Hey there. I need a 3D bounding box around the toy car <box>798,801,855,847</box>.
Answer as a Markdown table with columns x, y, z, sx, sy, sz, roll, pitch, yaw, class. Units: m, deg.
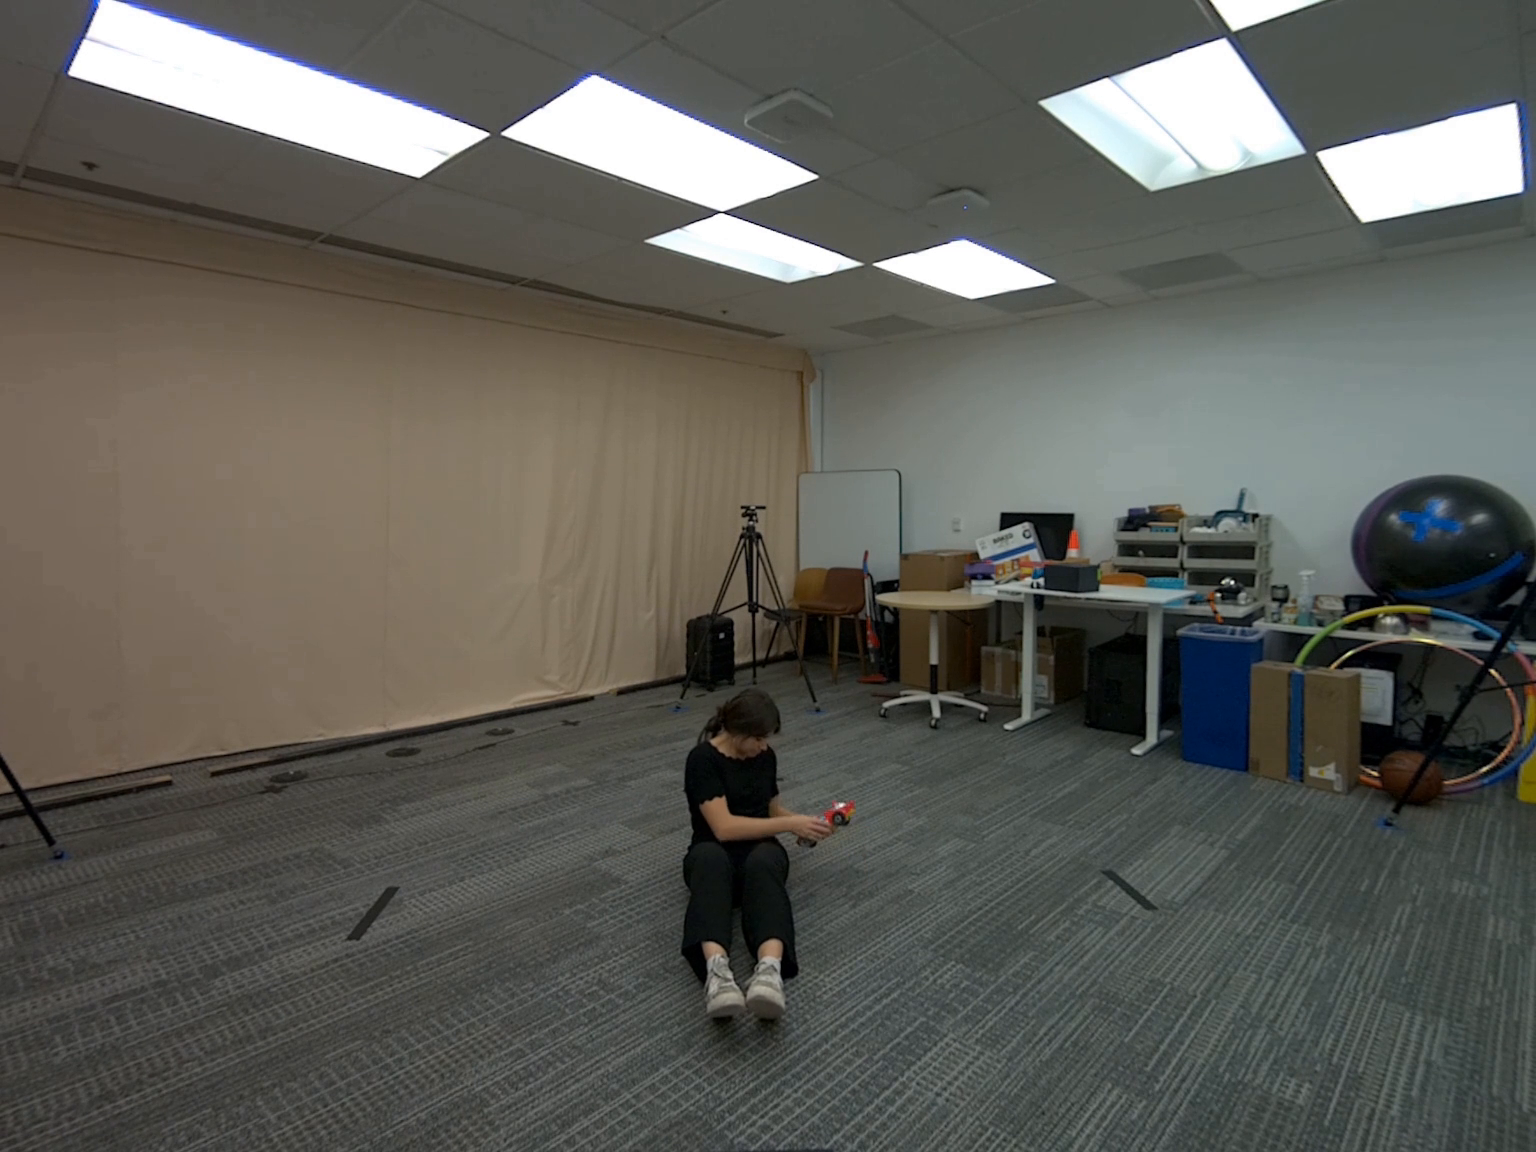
| x | y | z | sx | sy | sz | roll | pitch | yaw | class |
| --- | --- | --- | --- | --- | --- | --- | --- | --- | --- |
| 0.203 | 0.902 | 3.034 | 0.085 | 0.255 | 0.126 | 43 | 6 | 23 | toy car |
